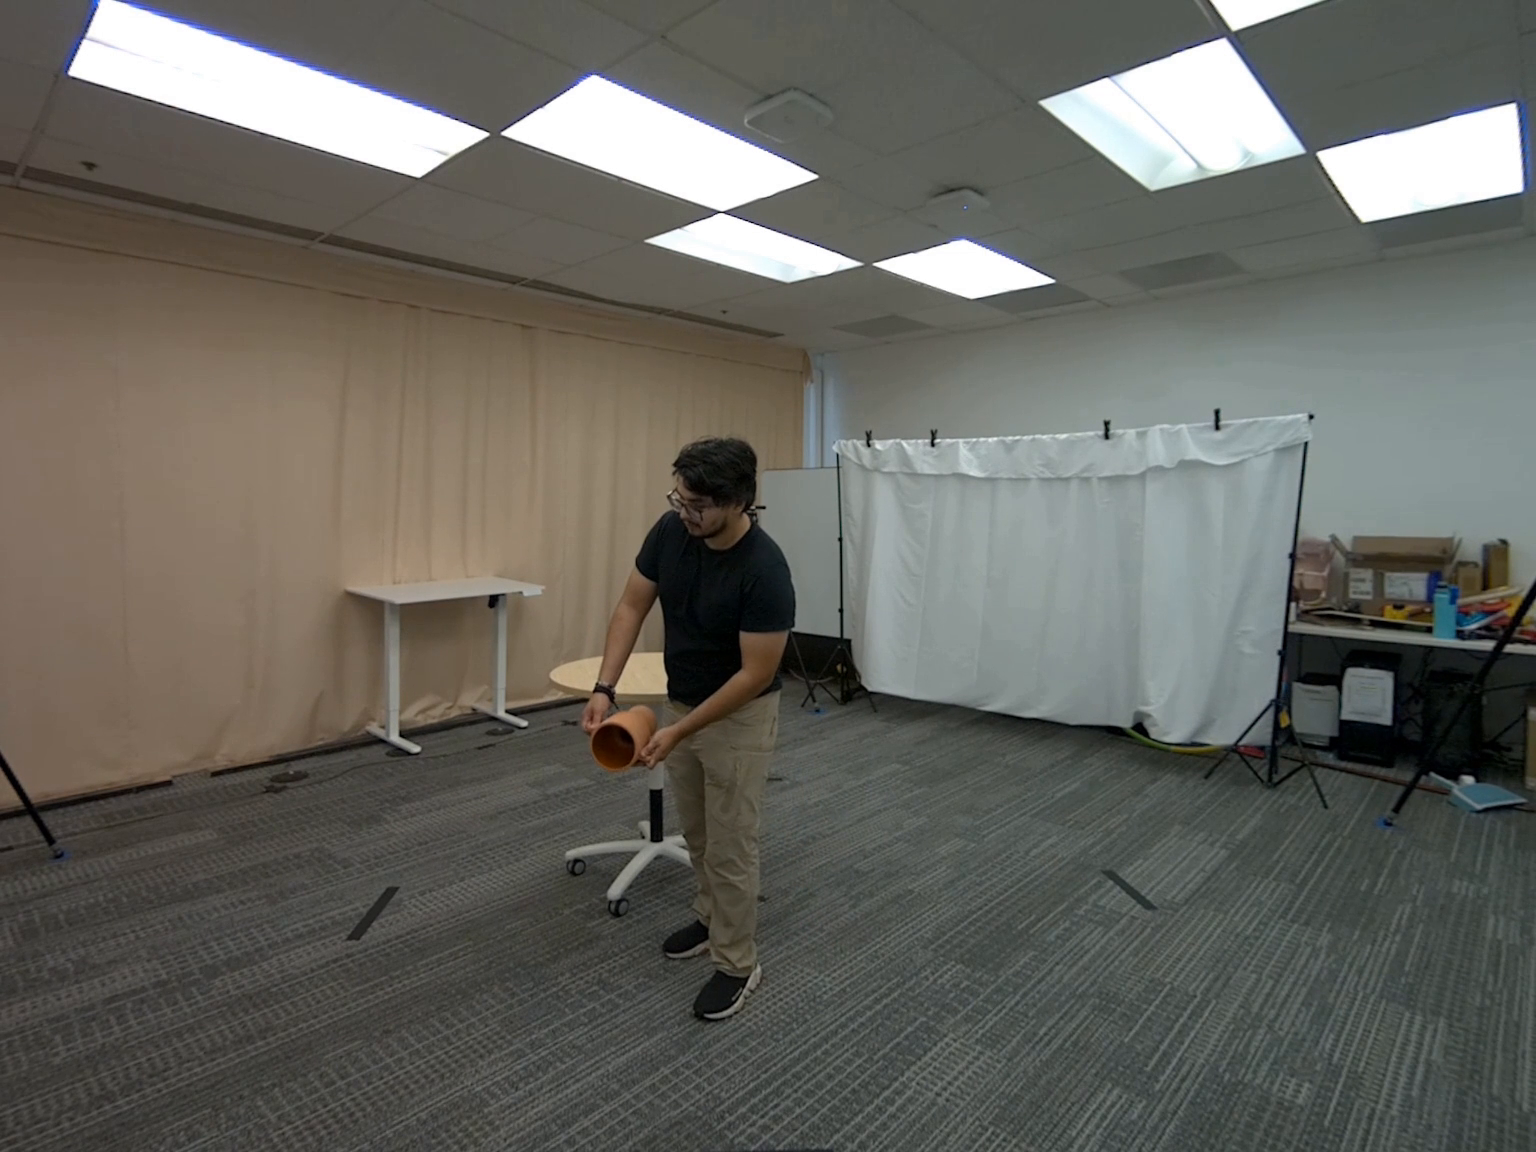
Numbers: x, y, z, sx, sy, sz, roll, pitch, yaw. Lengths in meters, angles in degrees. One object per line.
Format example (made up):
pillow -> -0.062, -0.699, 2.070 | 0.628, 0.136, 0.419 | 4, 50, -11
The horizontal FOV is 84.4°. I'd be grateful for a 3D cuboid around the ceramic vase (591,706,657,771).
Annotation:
ceramic vase -> -0.381, 0.426, 2.255 | 0.136, 0.159, 0.217 | -23, -2, 15
